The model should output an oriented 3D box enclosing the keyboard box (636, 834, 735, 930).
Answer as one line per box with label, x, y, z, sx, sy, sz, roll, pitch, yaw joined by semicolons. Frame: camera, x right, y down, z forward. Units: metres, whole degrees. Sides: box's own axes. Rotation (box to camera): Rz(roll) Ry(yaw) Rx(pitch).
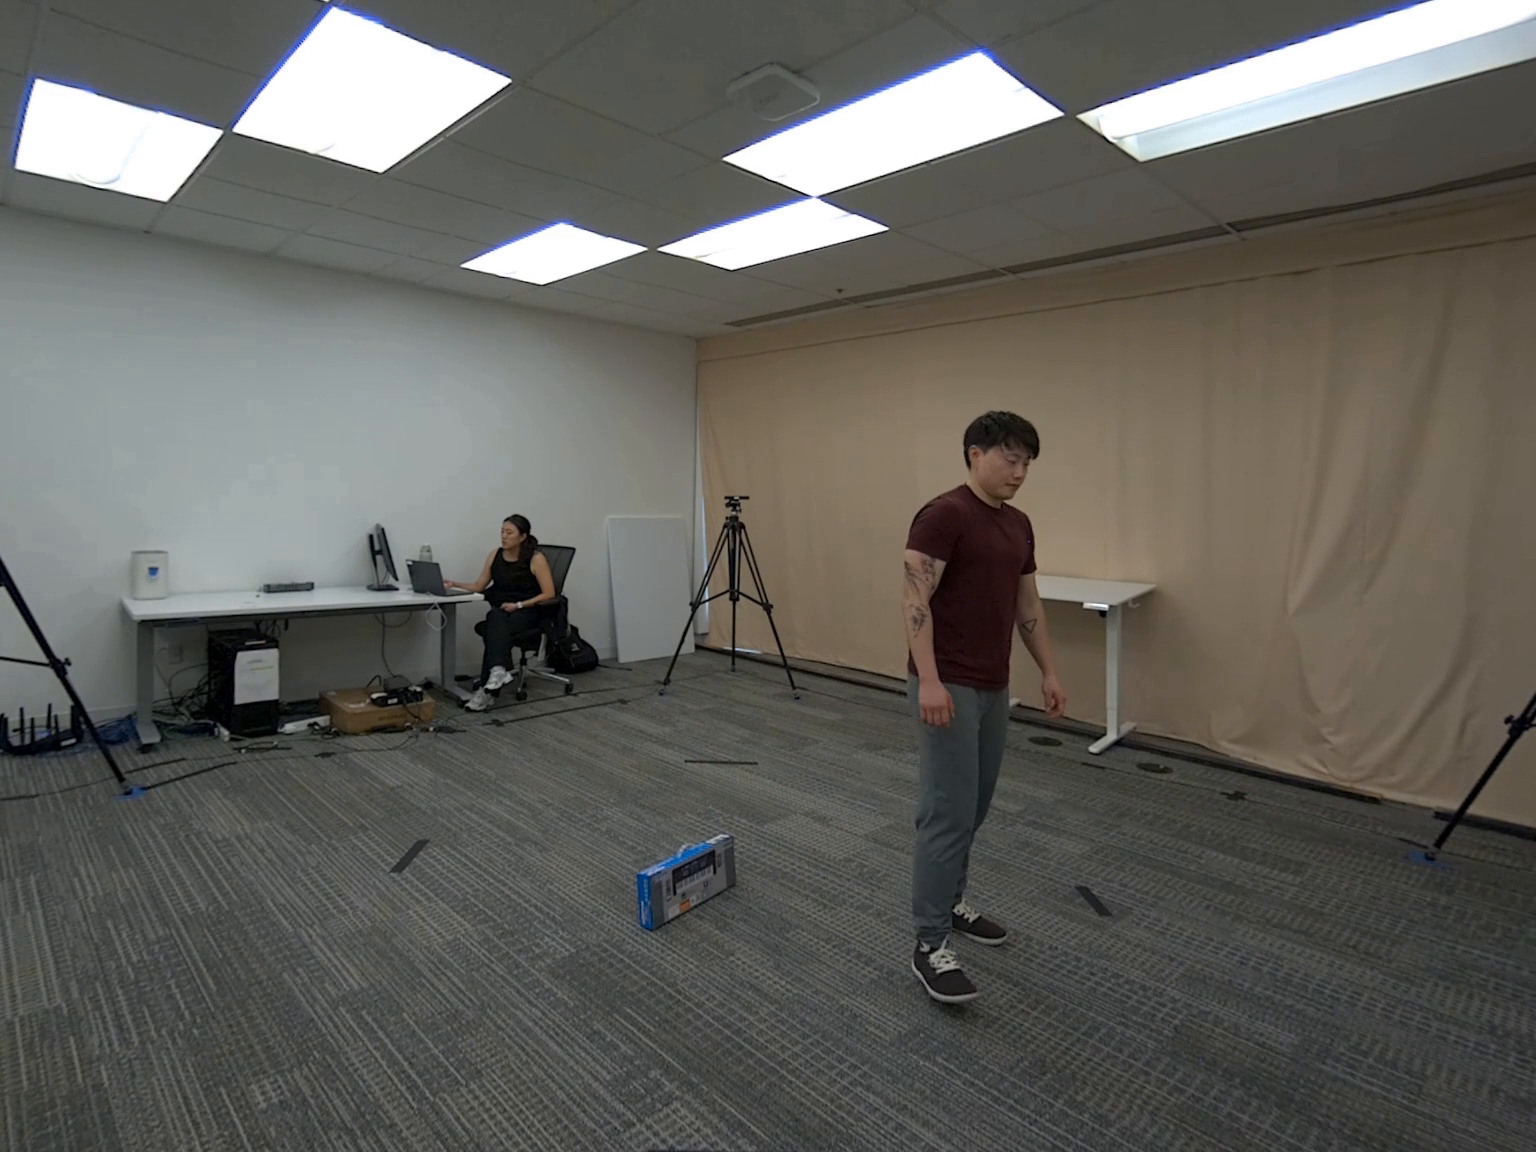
keyboard box;-0.274;1.037;2.872;0.060;0.176;0.427;-5;0;37
